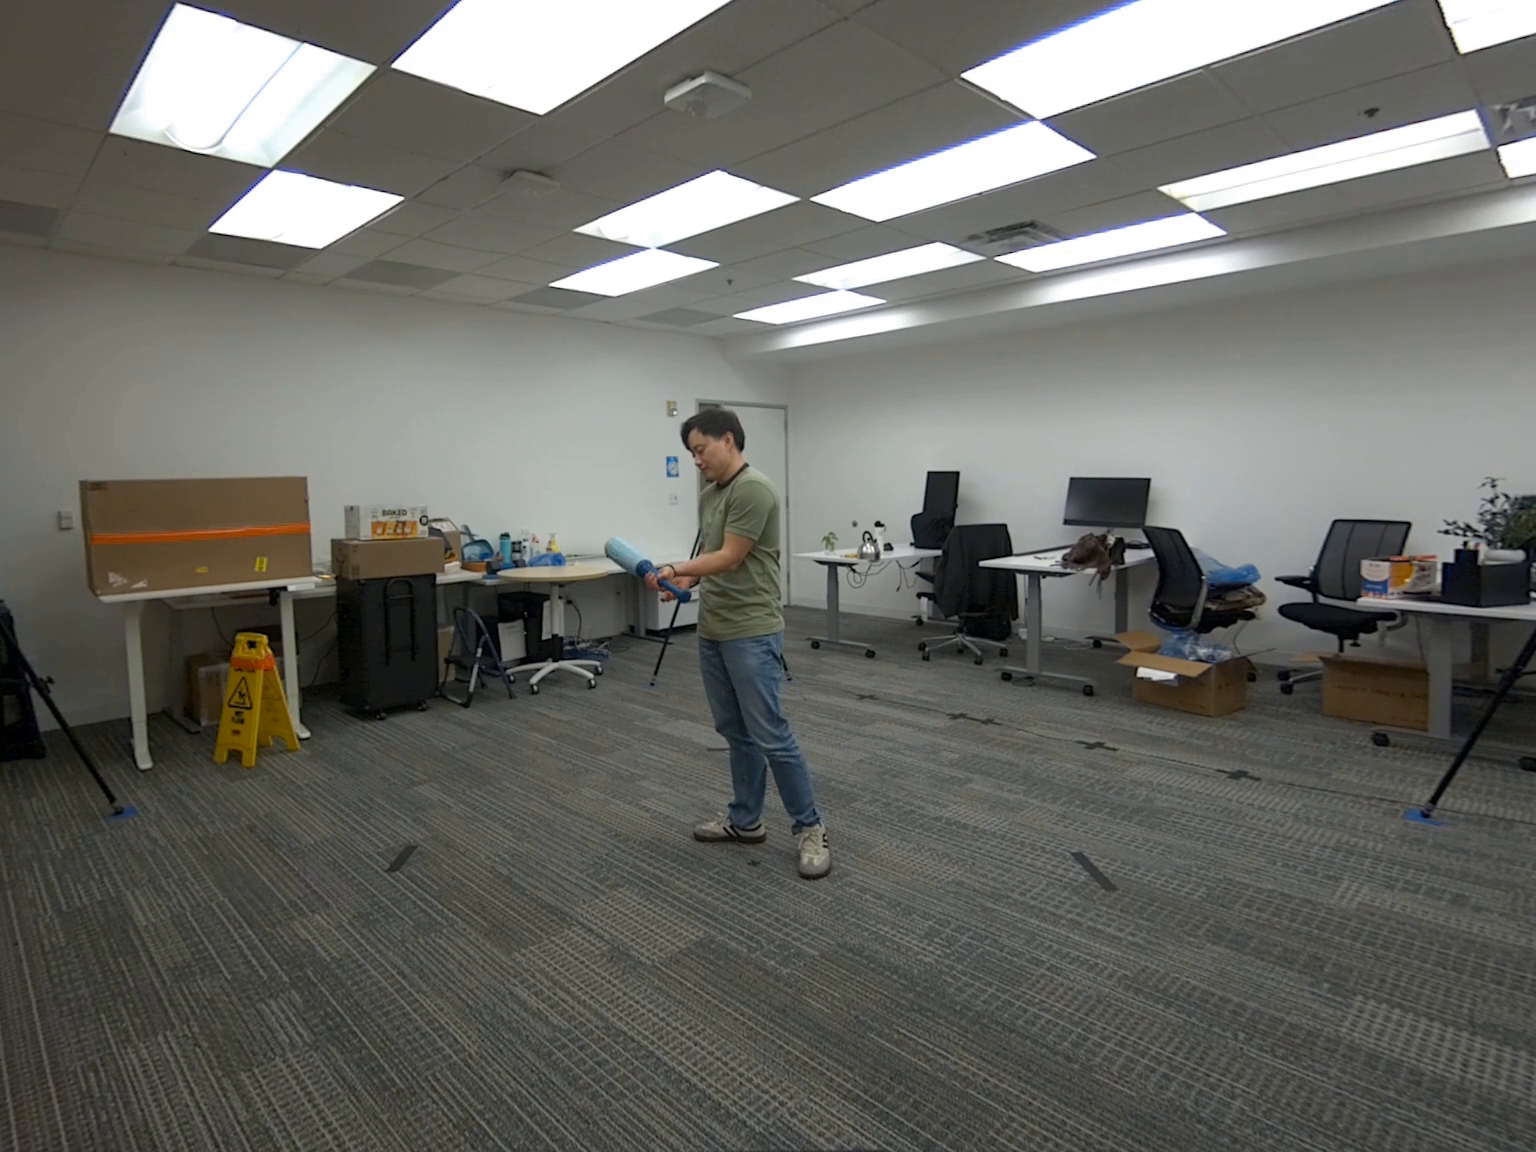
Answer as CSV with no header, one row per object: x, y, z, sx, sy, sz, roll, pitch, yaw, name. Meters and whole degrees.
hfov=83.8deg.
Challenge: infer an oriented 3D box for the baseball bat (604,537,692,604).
-0.415,-0.016,2.962,0.087,0.088,0.564,-4,21,-35,baseball bat
